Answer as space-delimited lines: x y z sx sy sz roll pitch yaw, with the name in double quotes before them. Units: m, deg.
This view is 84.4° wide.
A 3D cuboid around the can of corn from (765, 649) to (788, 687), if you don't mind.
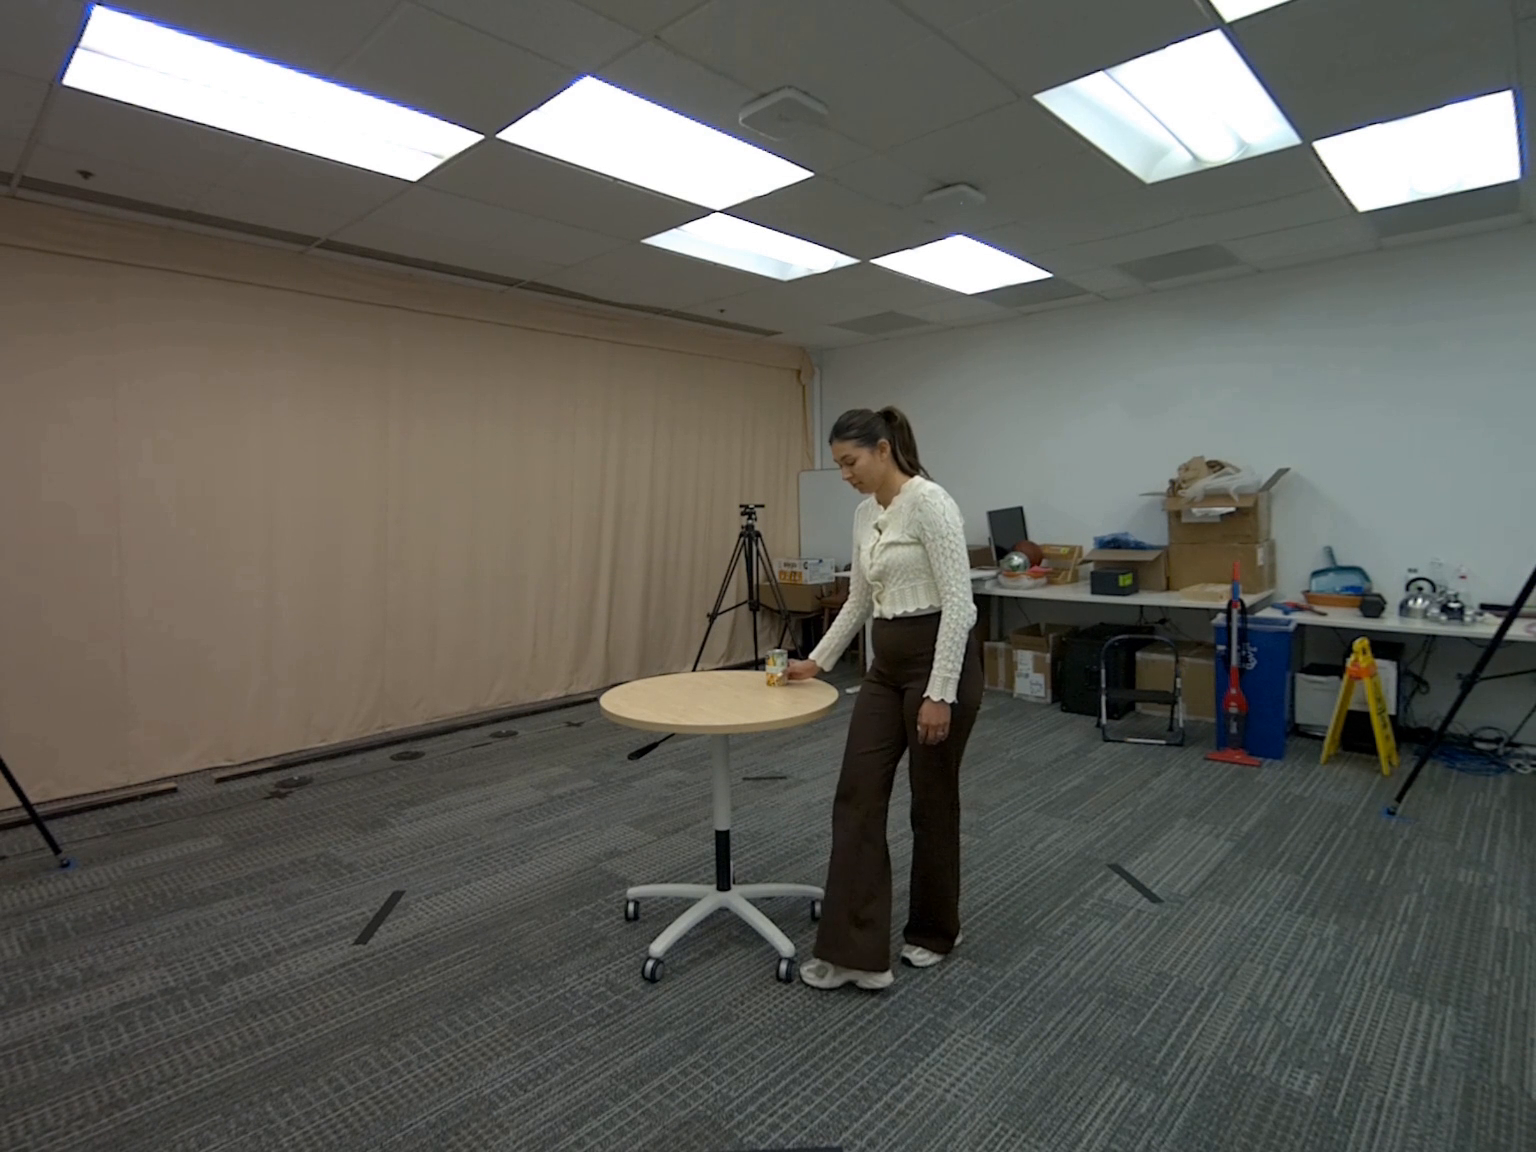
"can of corn" 0.038 0.313 2.838 0.074 0.111 0.074 2 3 -2
